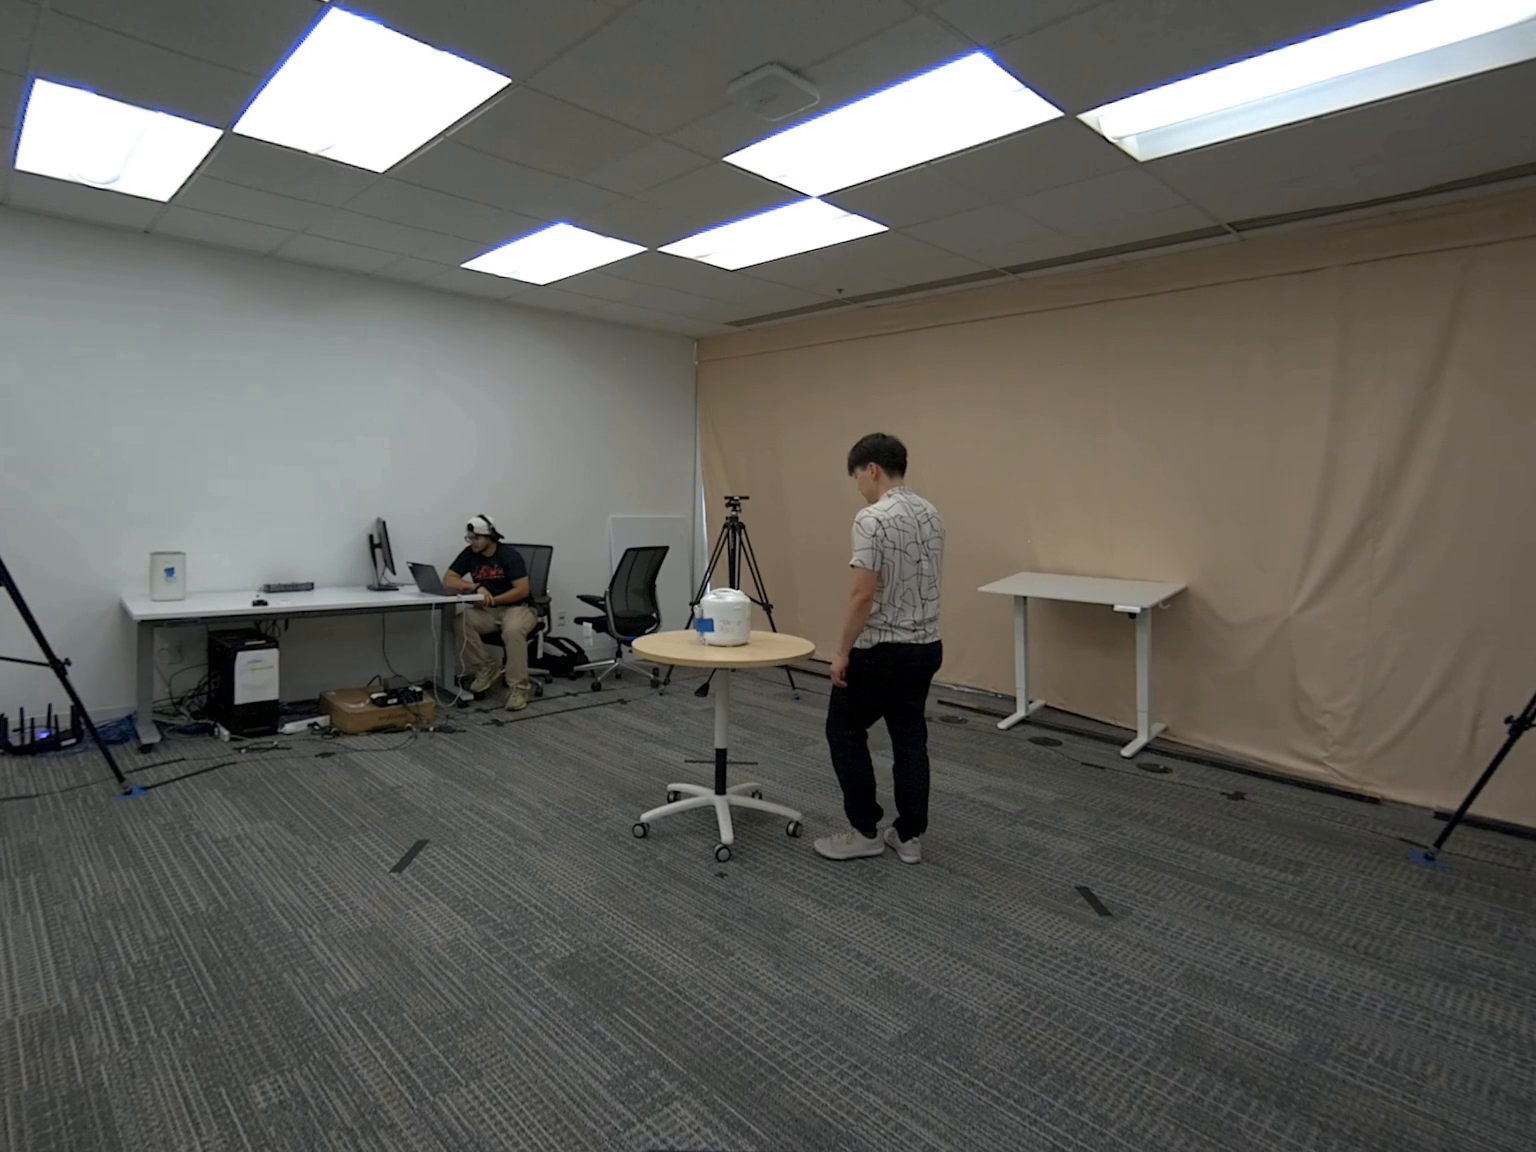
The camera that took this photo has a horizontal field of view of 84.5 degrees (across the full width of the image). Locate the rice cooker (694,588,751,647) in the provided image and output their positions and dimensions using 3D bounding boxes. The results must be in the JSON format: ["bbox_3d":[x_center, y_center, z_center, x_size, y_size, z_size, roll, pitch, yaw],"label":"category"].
[{"bbox_3d":[-0.184,0.166,3.529,0.225,0.232,0.214,3,5,24],"label":"rice cooker"}]
